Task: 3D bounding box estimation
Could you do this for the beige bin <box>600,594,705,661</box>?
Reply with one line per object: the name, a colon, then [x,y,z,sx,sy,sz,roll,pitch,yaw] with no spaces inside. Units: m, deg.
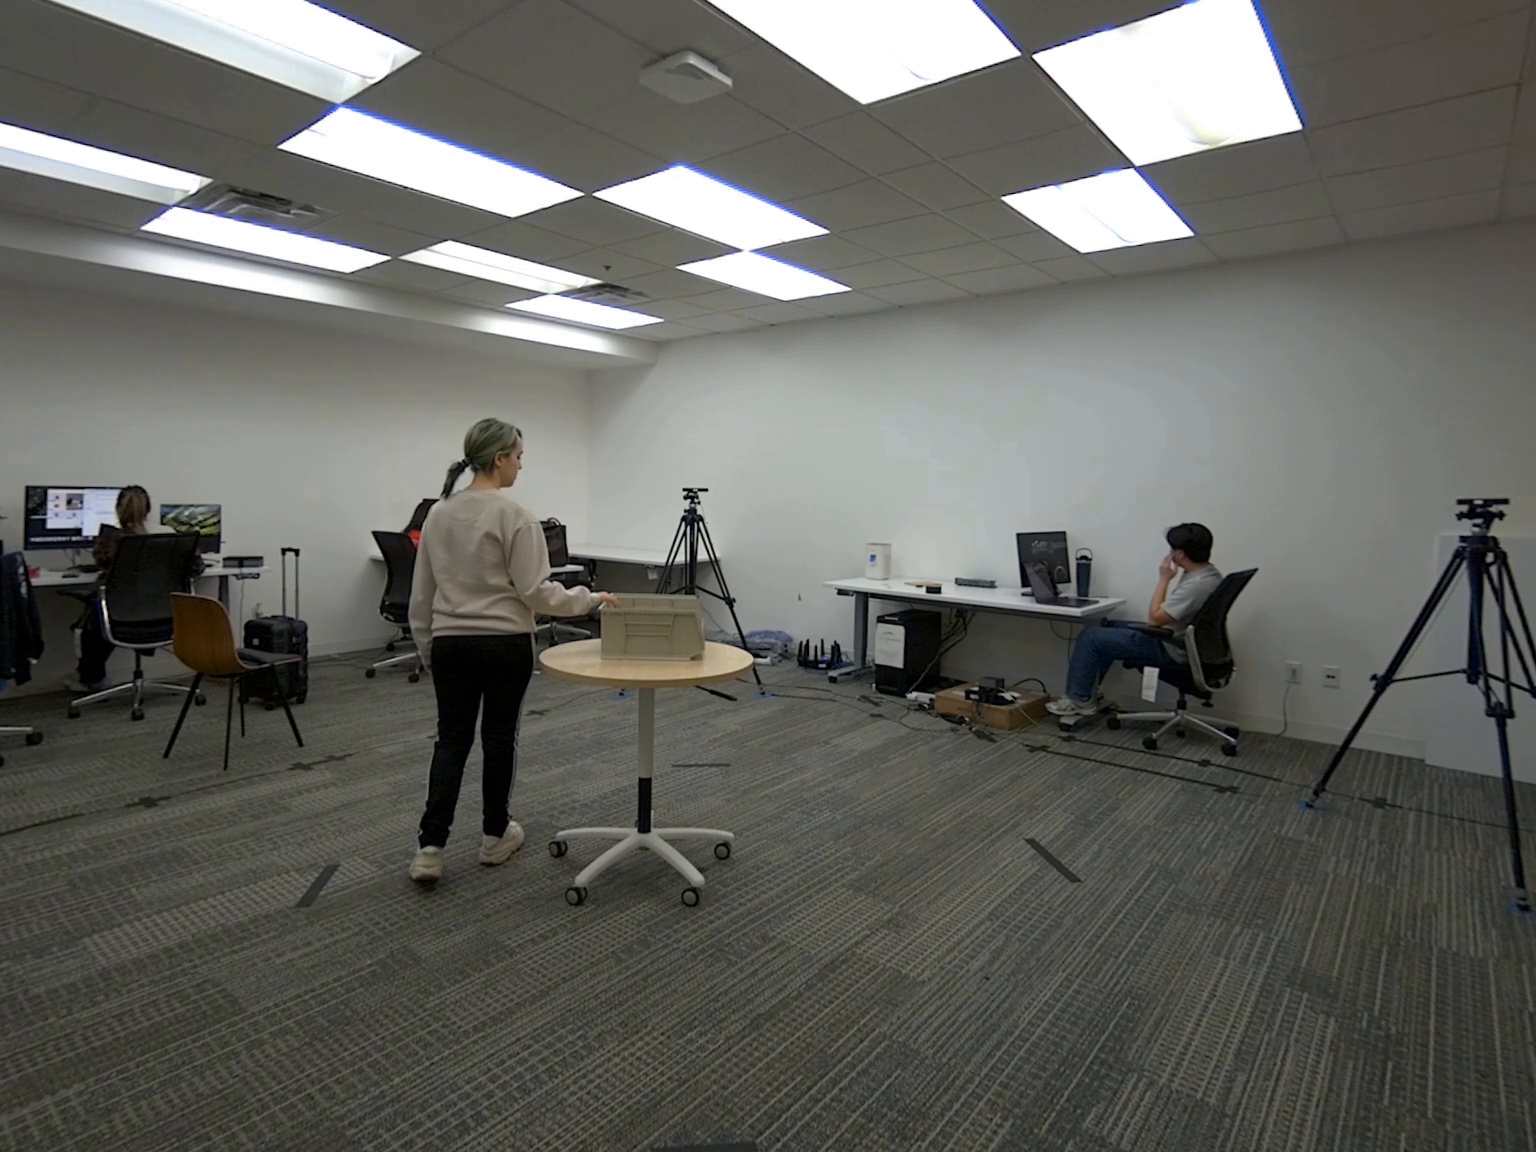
beige bin: [-0.435,0.185,3.181,0.376,0.188,0.425,0,6,-3]
